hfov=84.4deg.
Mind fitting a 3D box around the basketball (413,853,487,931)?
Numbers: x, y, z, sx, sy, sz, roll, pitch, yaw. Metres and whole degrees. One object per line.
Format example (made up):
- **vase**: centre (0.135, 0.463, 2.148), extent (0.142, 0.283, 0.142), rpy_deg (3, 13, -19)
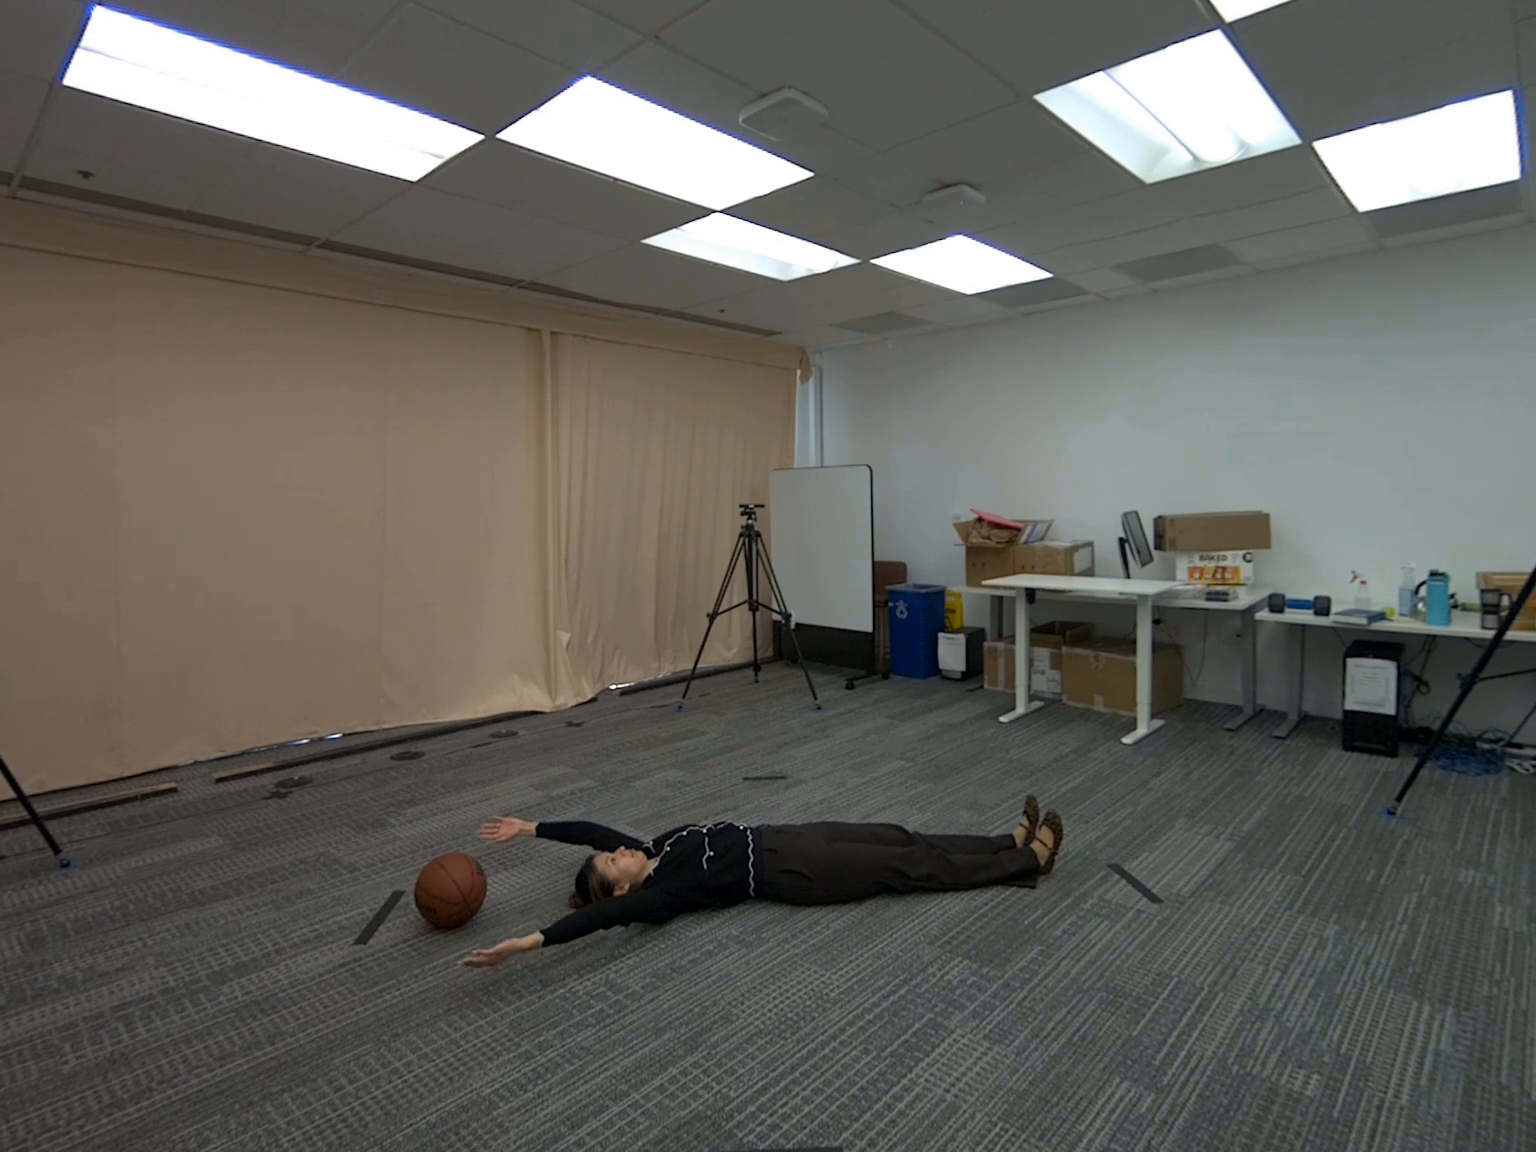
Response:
- **basketball**: centre (-1.069, 1.058, 2.838), extent (0.236, 0.235, 0.237), rpy_deg (-1, 4, -2)
